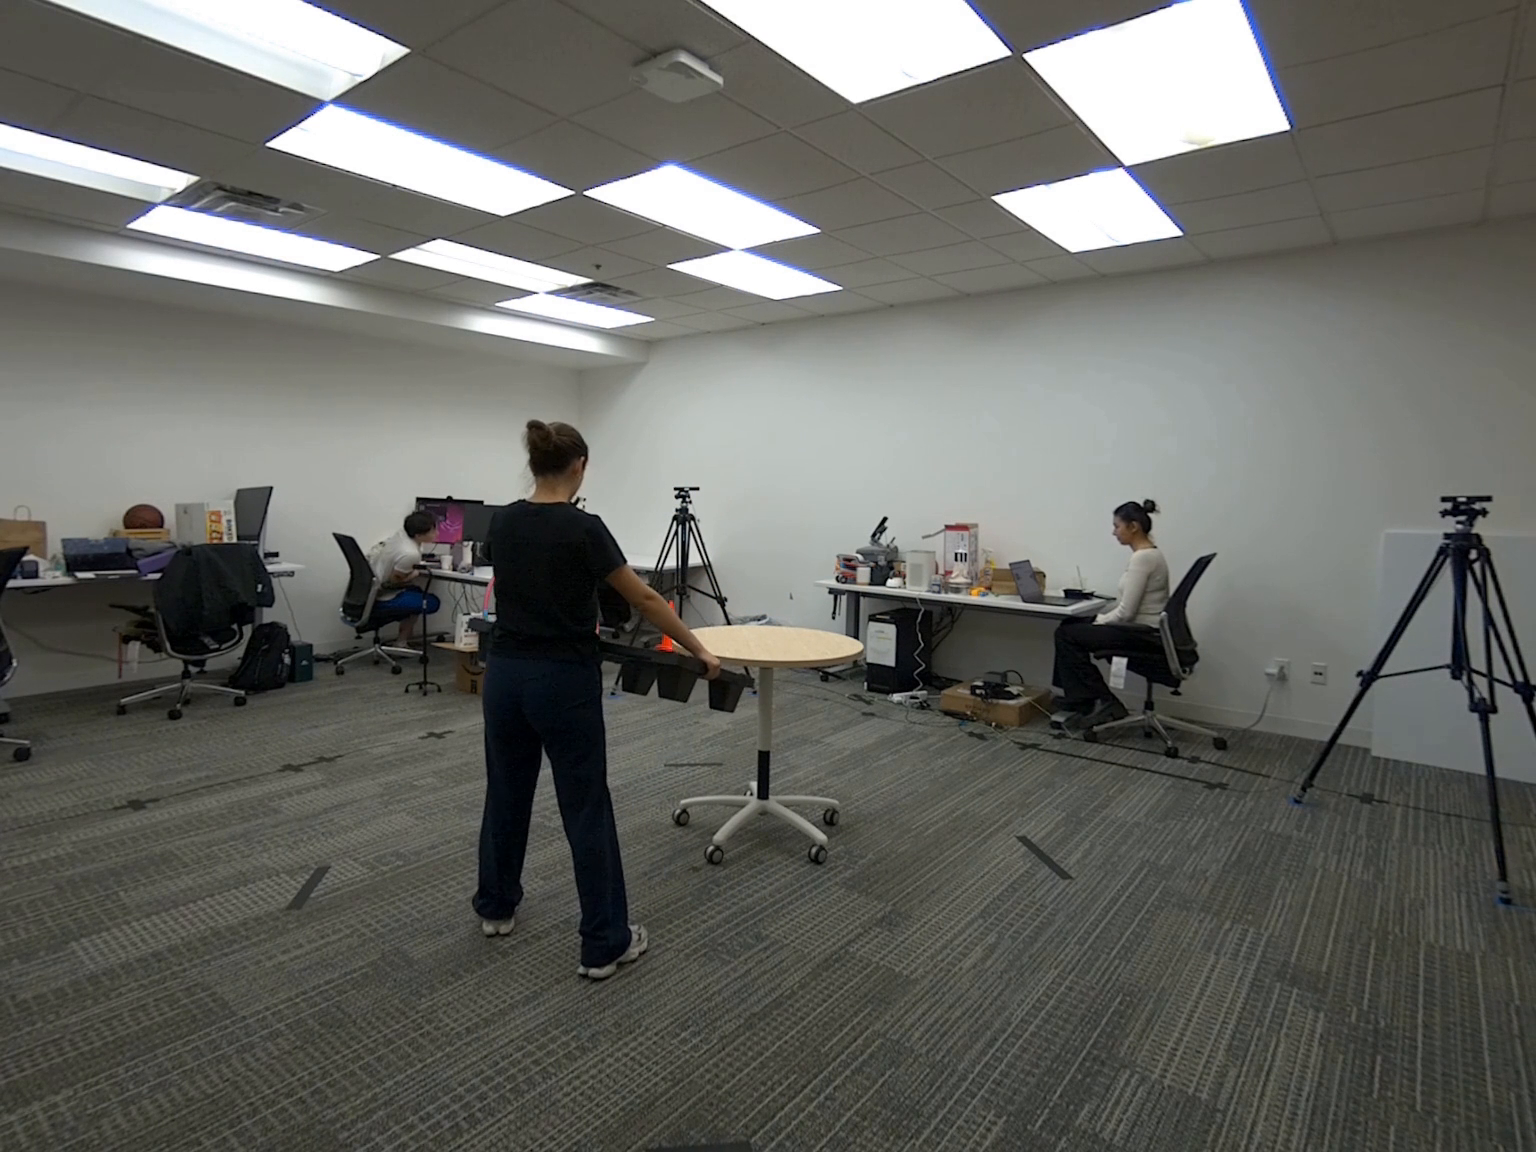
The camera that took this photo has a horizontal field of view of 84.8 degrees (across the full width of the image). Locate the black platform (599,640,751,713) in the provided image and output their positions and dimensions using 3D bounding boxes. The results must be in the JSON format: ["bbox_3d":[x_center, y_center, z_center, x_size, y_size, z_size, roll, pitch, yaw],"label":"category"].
[{"bbox_3d":[-0.510,0.304,2.852,0.827,0.144,0.585,7,-10,23],"label":"black platform"}]
